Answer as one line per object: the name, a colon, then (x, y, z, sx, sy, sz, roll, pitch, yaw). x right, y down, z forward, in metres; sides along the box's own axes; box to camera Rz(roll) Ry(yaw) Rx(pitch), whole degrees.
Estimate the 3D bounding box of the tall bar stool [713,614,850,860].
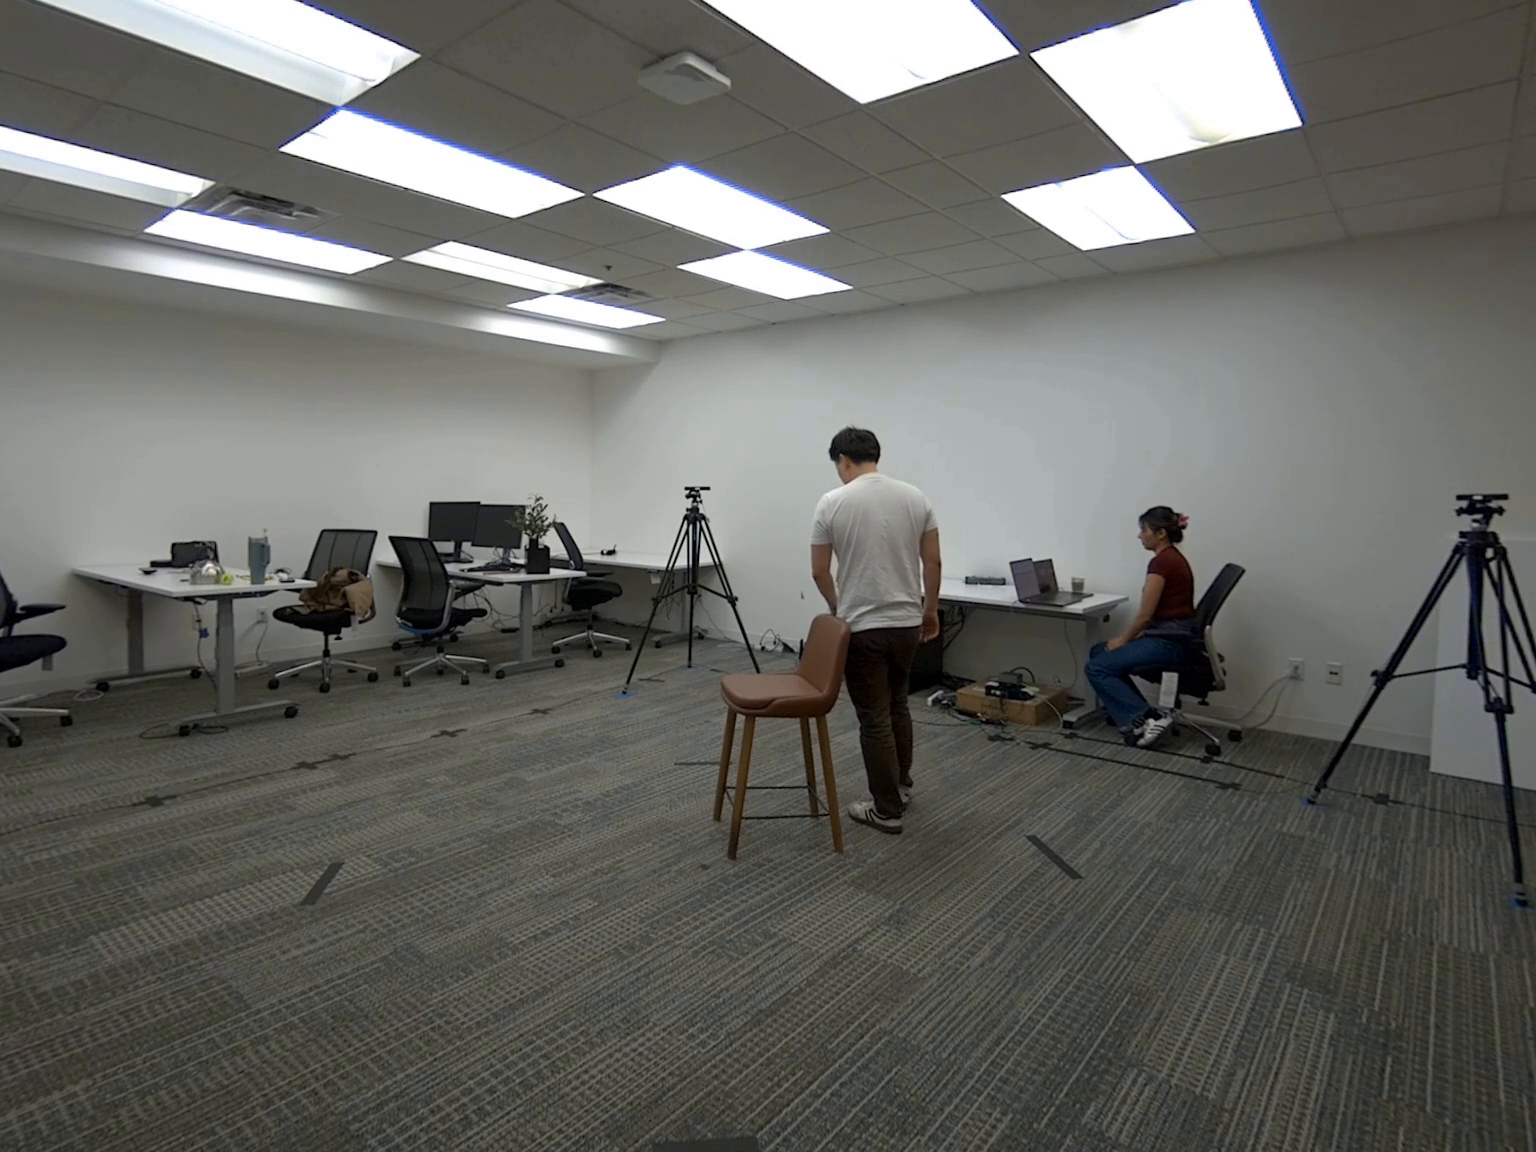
tall bar stool: (0.041, 0.604, 3.390, 0.462, 0.887, 0.463, 2, 3, -11)
